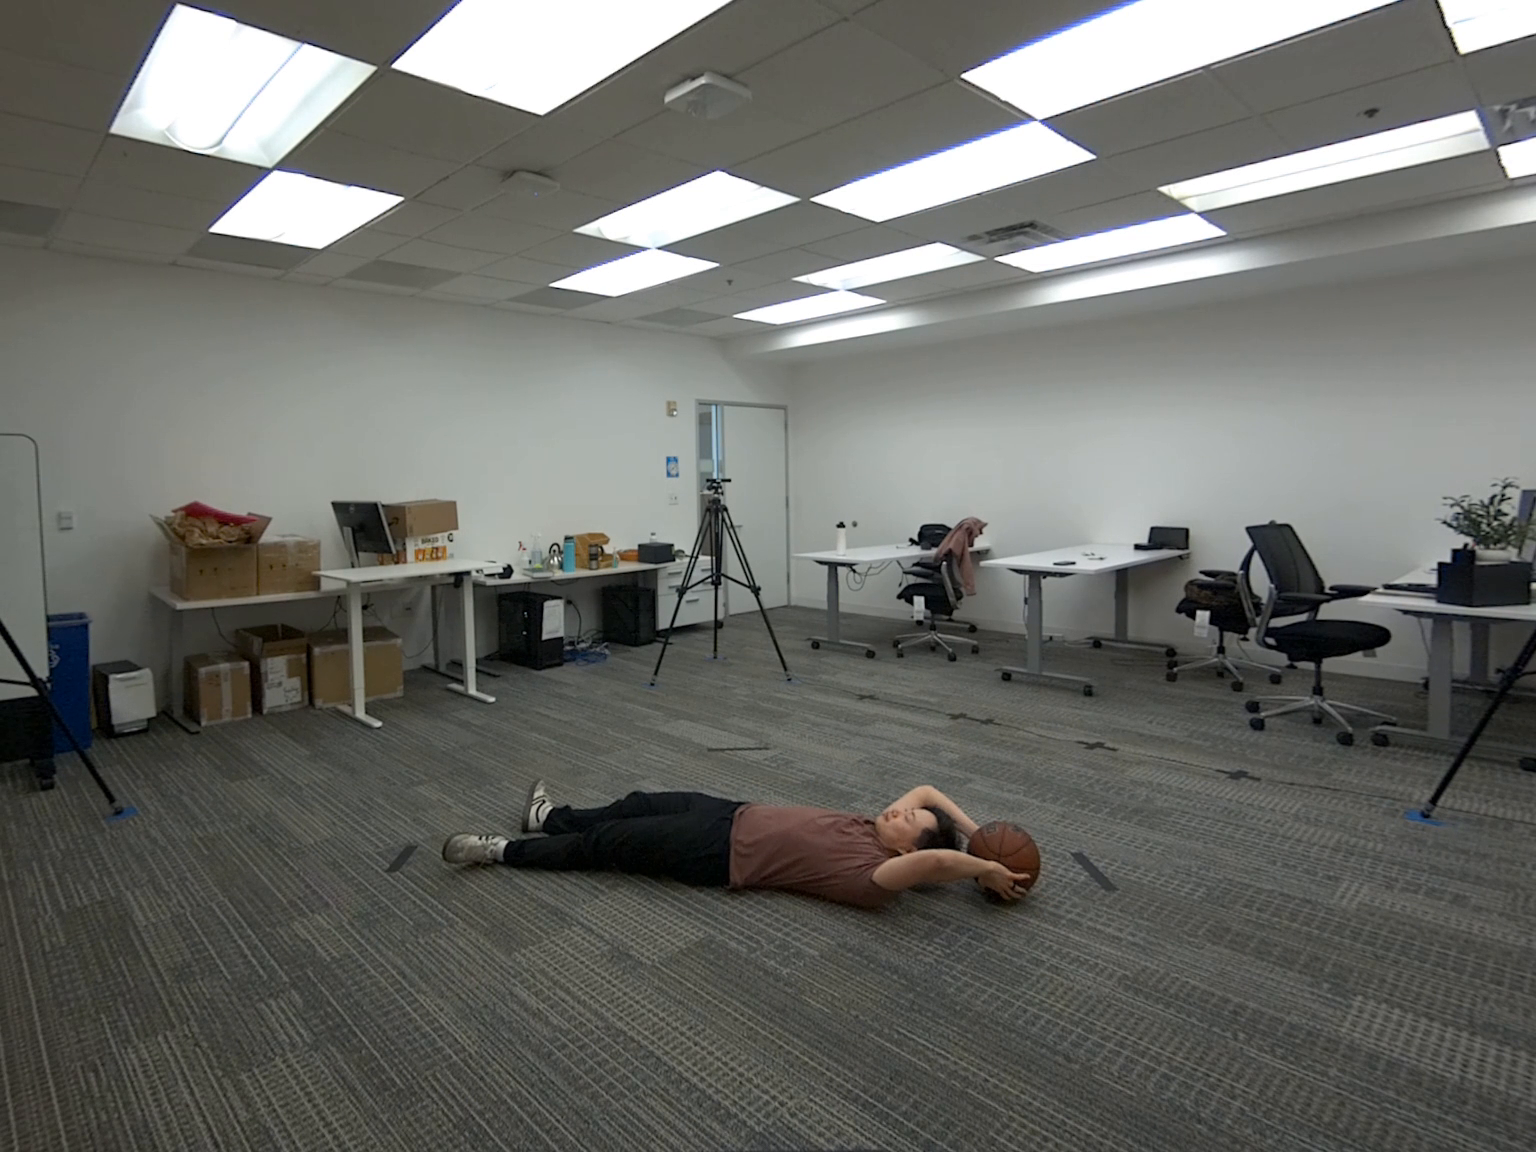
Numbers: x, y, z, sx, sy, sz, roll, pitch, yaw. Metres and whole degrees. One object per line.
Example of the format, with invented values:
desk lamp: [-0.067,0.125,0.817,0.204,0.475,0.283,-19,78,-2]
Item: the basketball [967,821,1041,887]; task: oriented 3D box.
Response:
basketball: [0.784,0.939,2.847,0.236,0.236,0.236,0,1,-2]
